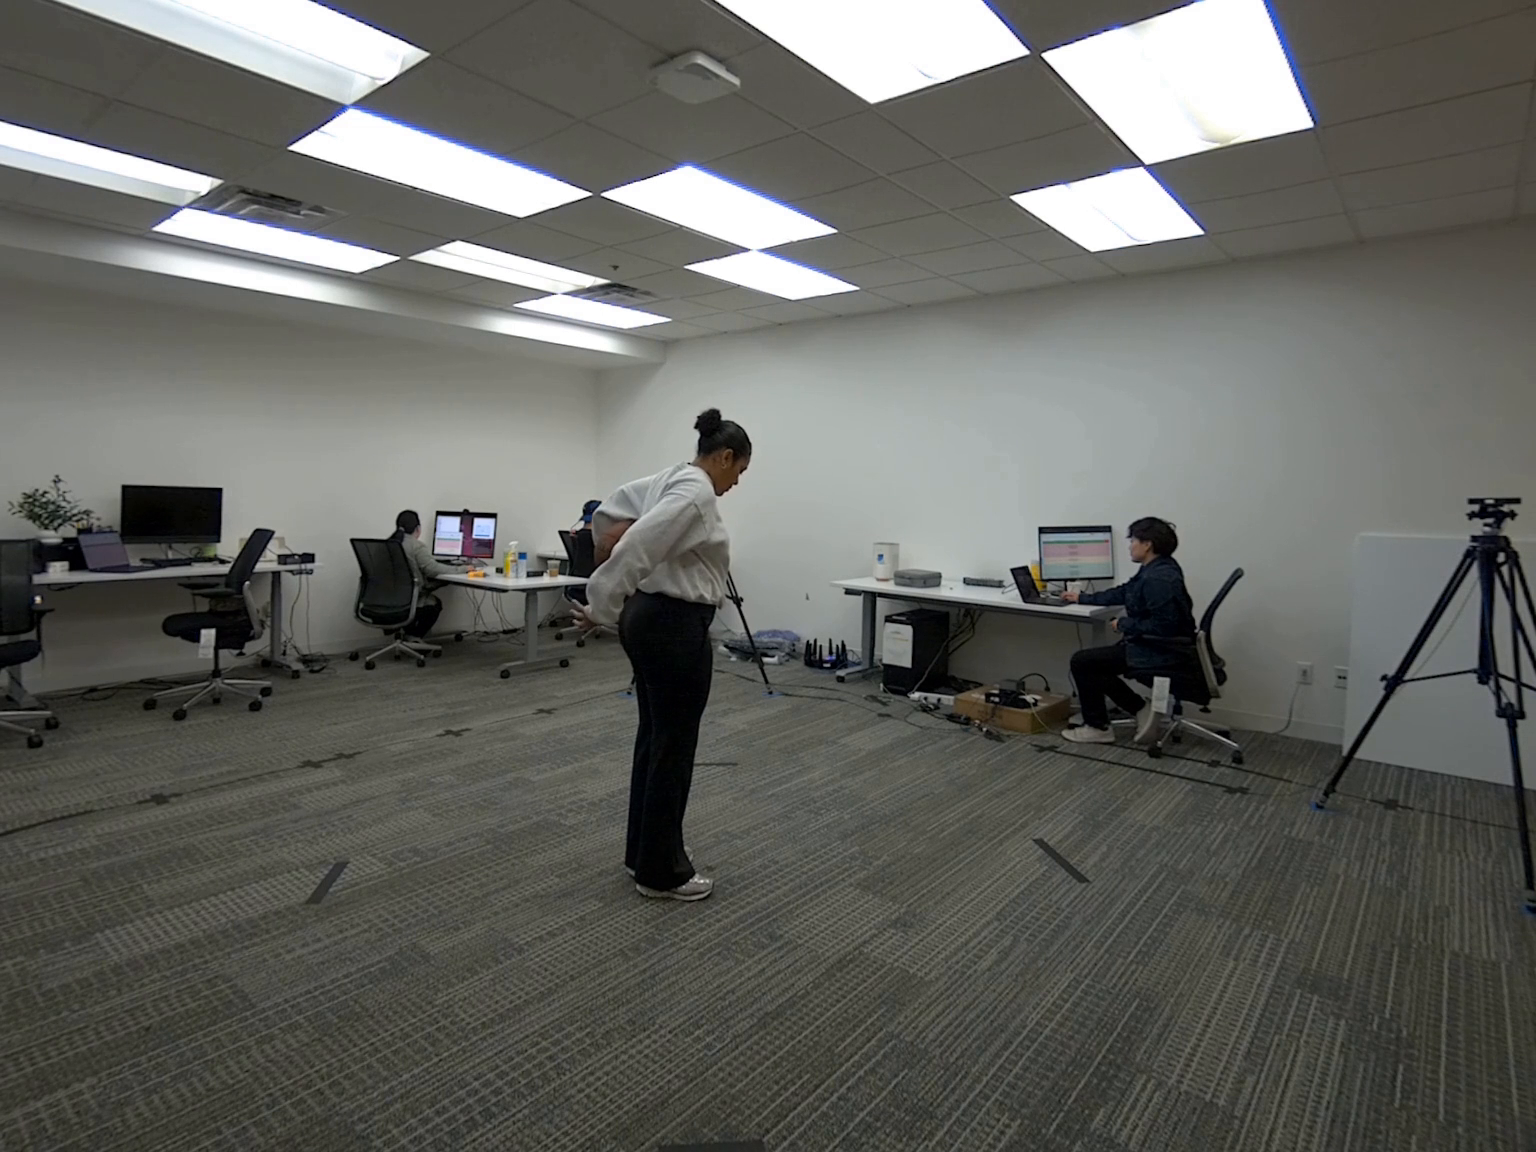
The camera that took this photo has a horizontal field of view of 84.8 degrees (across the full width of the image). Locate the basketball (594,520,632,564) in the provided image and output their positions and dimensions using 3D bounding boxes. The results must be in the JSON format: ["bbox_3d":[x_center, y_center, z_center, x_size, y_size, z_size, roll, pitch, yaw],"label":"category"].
[{"bbox_3d":[-0.527,-0.089,3.136,0.235,0.235,0.237,1,4,-2],"label":"basketball"}]
